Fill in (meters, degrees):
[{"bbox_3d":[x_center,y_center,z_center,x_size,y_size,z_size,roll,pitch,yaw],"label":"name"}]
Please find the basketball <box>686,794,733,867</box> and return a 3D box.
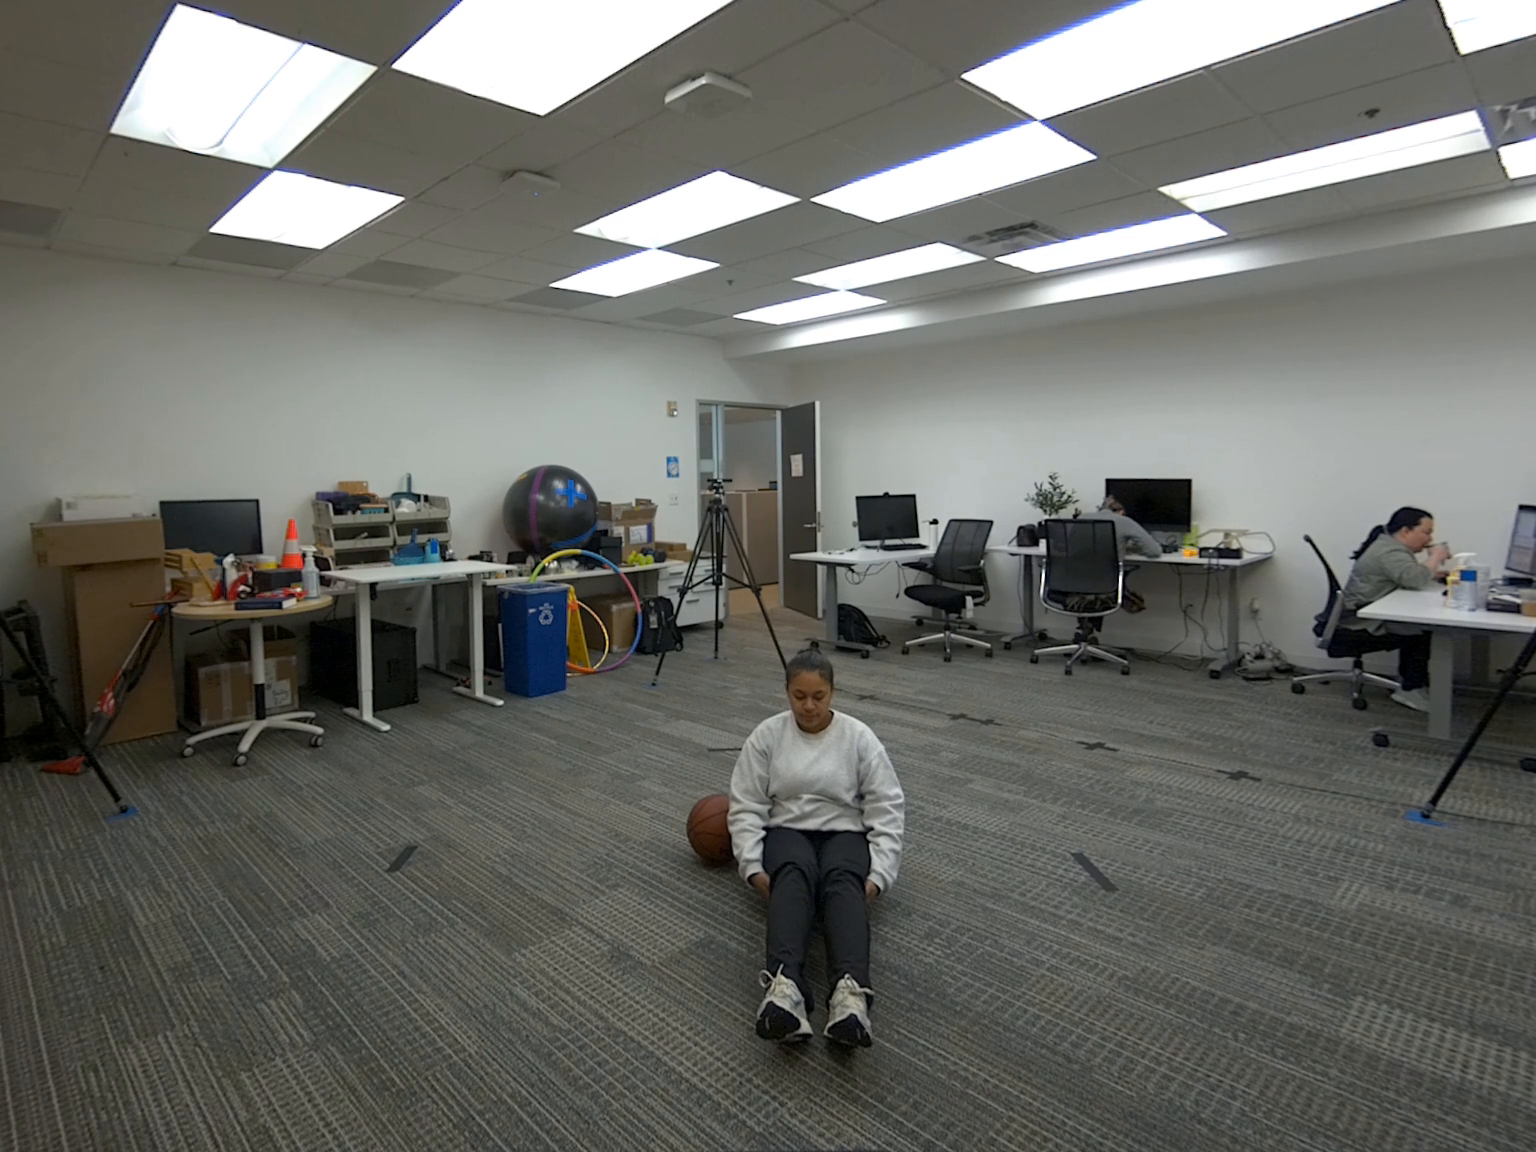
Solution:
[{"bbox_3d":[-0.174,0.922,3.134,0.236,0.235,0.237,-1,5,-2],"label":"basketball"}]
